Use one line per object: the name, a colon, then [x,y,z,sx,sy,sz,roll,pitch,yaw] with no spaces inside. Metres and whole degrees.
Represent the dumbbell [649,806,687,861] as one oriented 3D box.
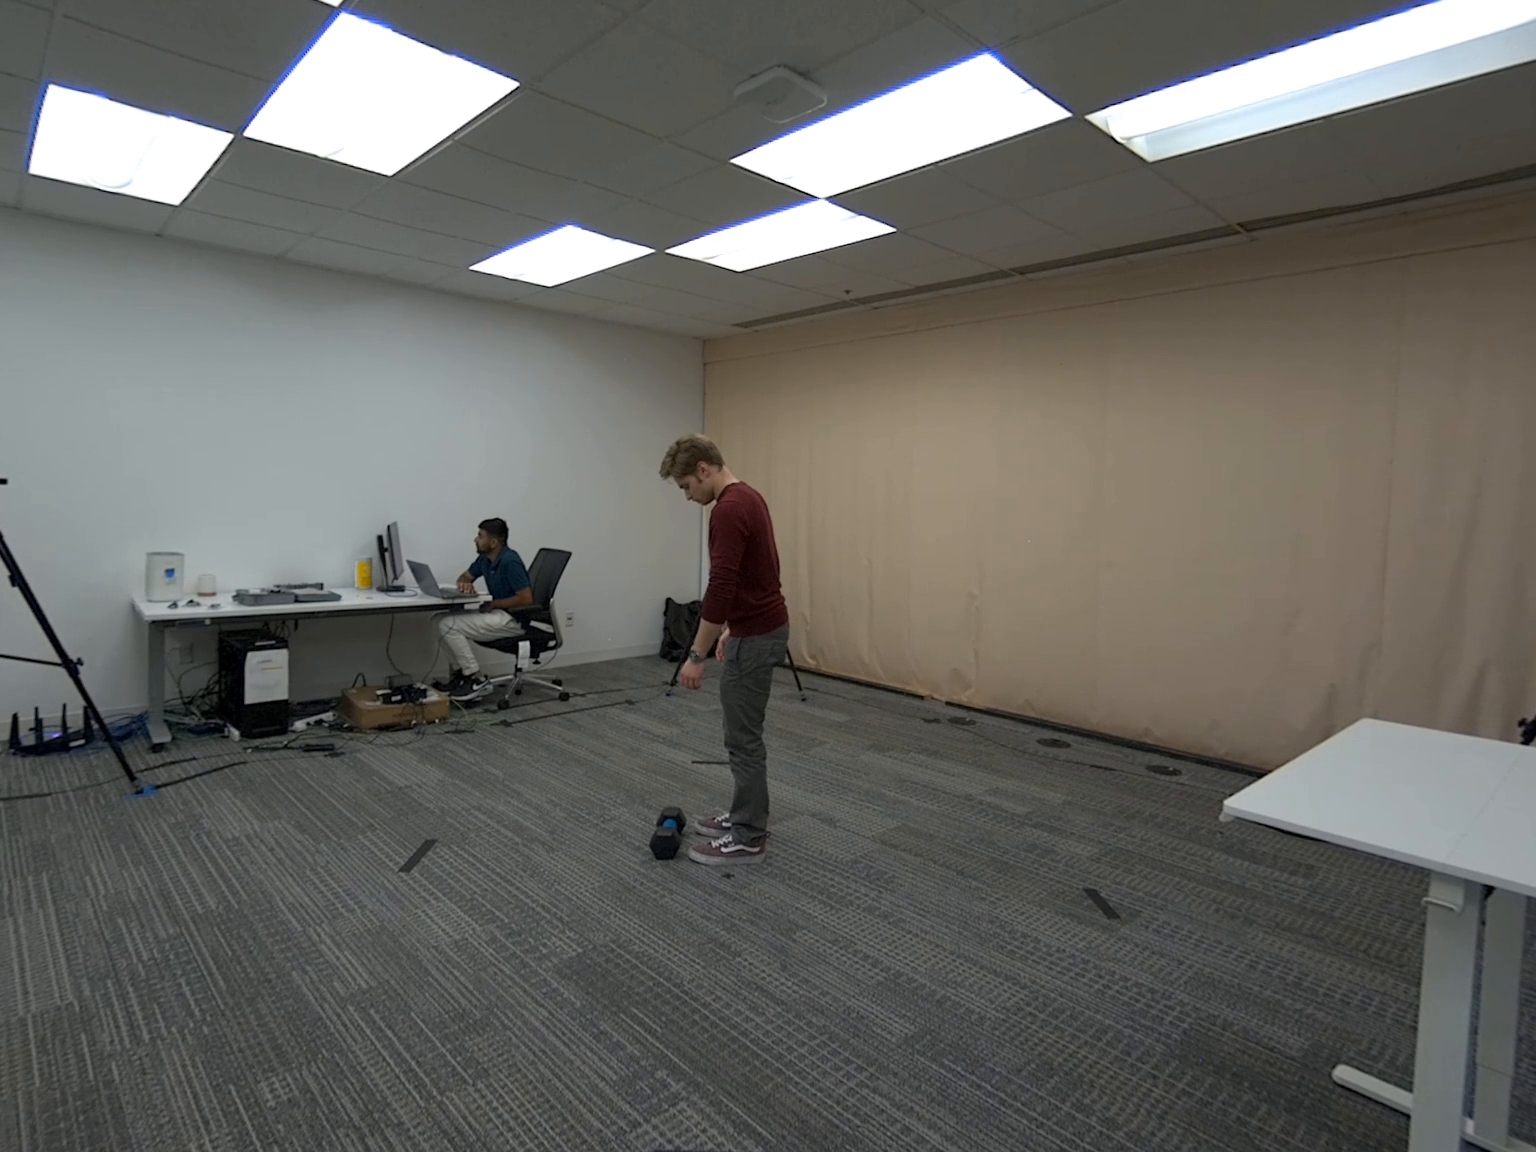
dumbbell: [-0.405,1.024,3.368,0.109,0.123,0.293,29,5,0]
